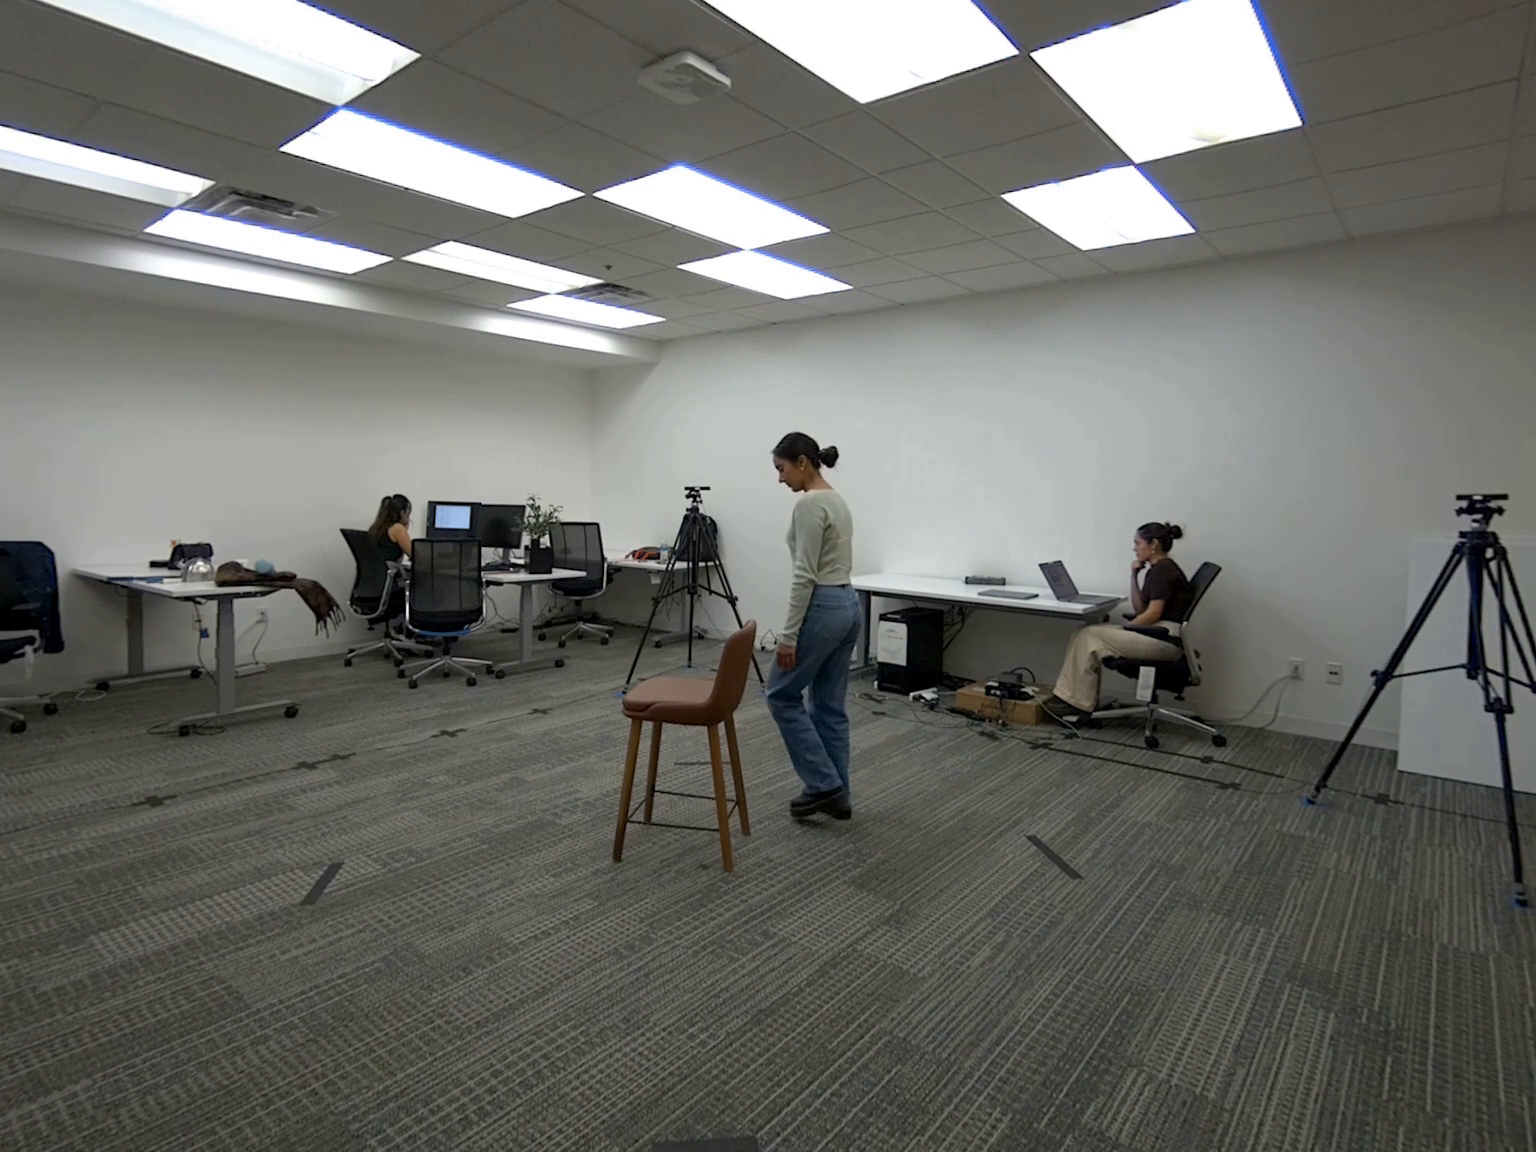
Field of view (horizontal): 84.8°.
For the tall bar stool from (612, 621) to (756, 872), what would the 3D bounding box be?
[{"bbox_3d":[-0.319,0.611,3.280,0.475,0.887,0.451,3,4,13],"label":"tall bar stool"}]
